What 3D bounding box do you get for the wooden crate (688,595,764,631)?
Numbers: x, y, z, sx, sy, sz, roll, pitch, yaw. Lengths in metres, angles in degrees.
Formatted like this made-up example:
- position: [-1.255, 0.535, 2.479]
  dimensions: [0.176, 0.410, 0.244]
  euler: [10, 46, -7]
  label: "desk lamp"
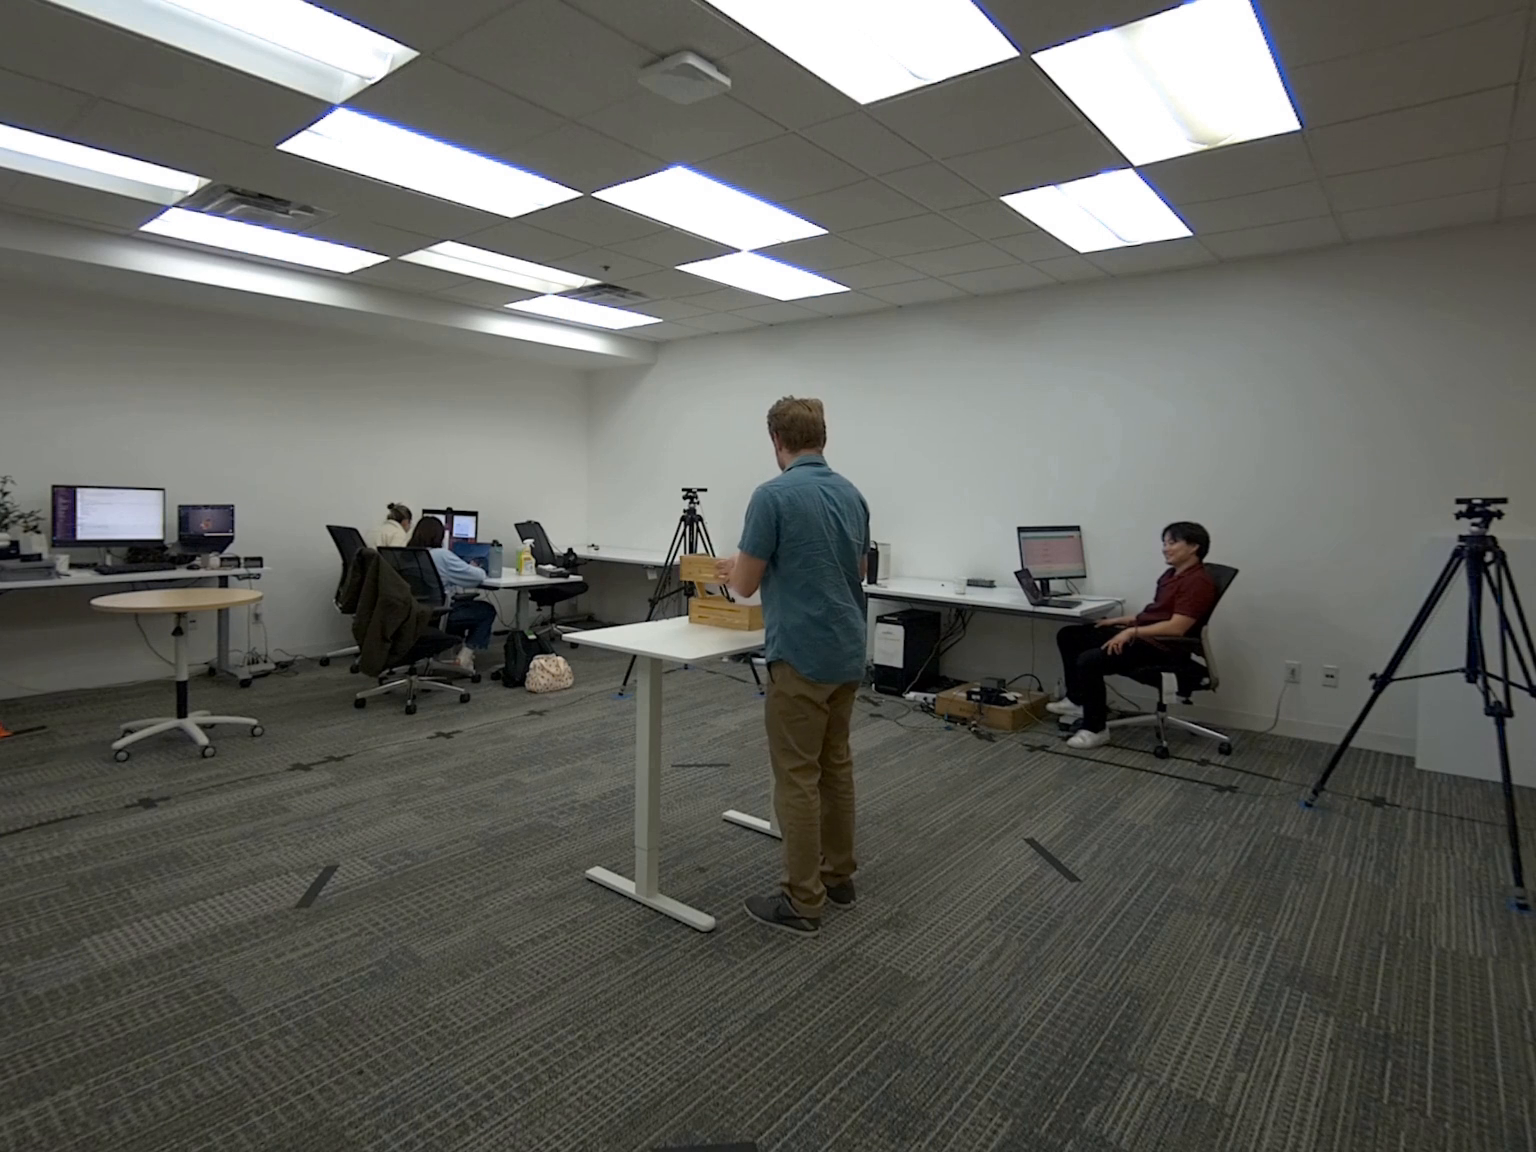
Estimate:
- position: [-0.131, 0.046, 3.206]
  dimensions: [0.335, 0.272, 0.293]
  euler: [4, 6, 38]
  label: "wooden crate"
